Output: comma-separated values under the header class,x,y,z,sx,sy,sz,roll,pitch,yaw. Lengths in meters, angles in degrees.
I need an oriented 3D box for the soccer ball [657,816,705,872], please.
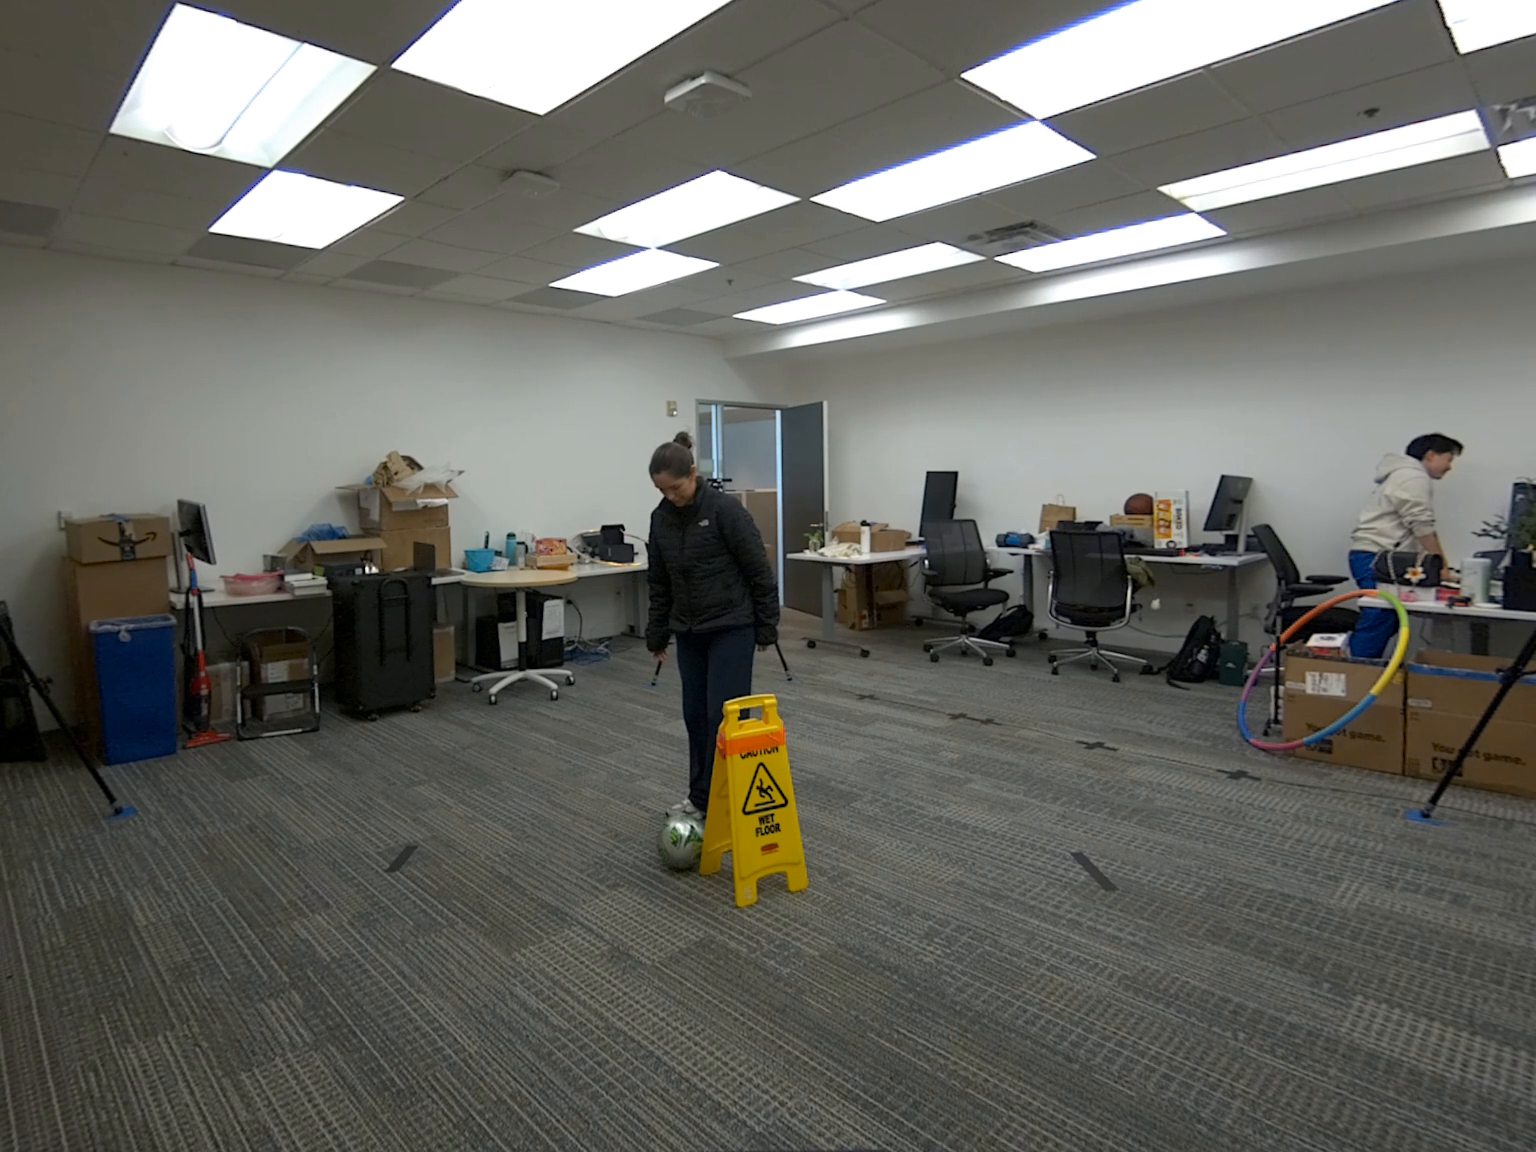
class,x,y,z,sx,sy,sz,roll,pitch,yaw
soccer ball,-0.310,0.963,3.083,0.187,0.187,0.188,-1,5,-2
